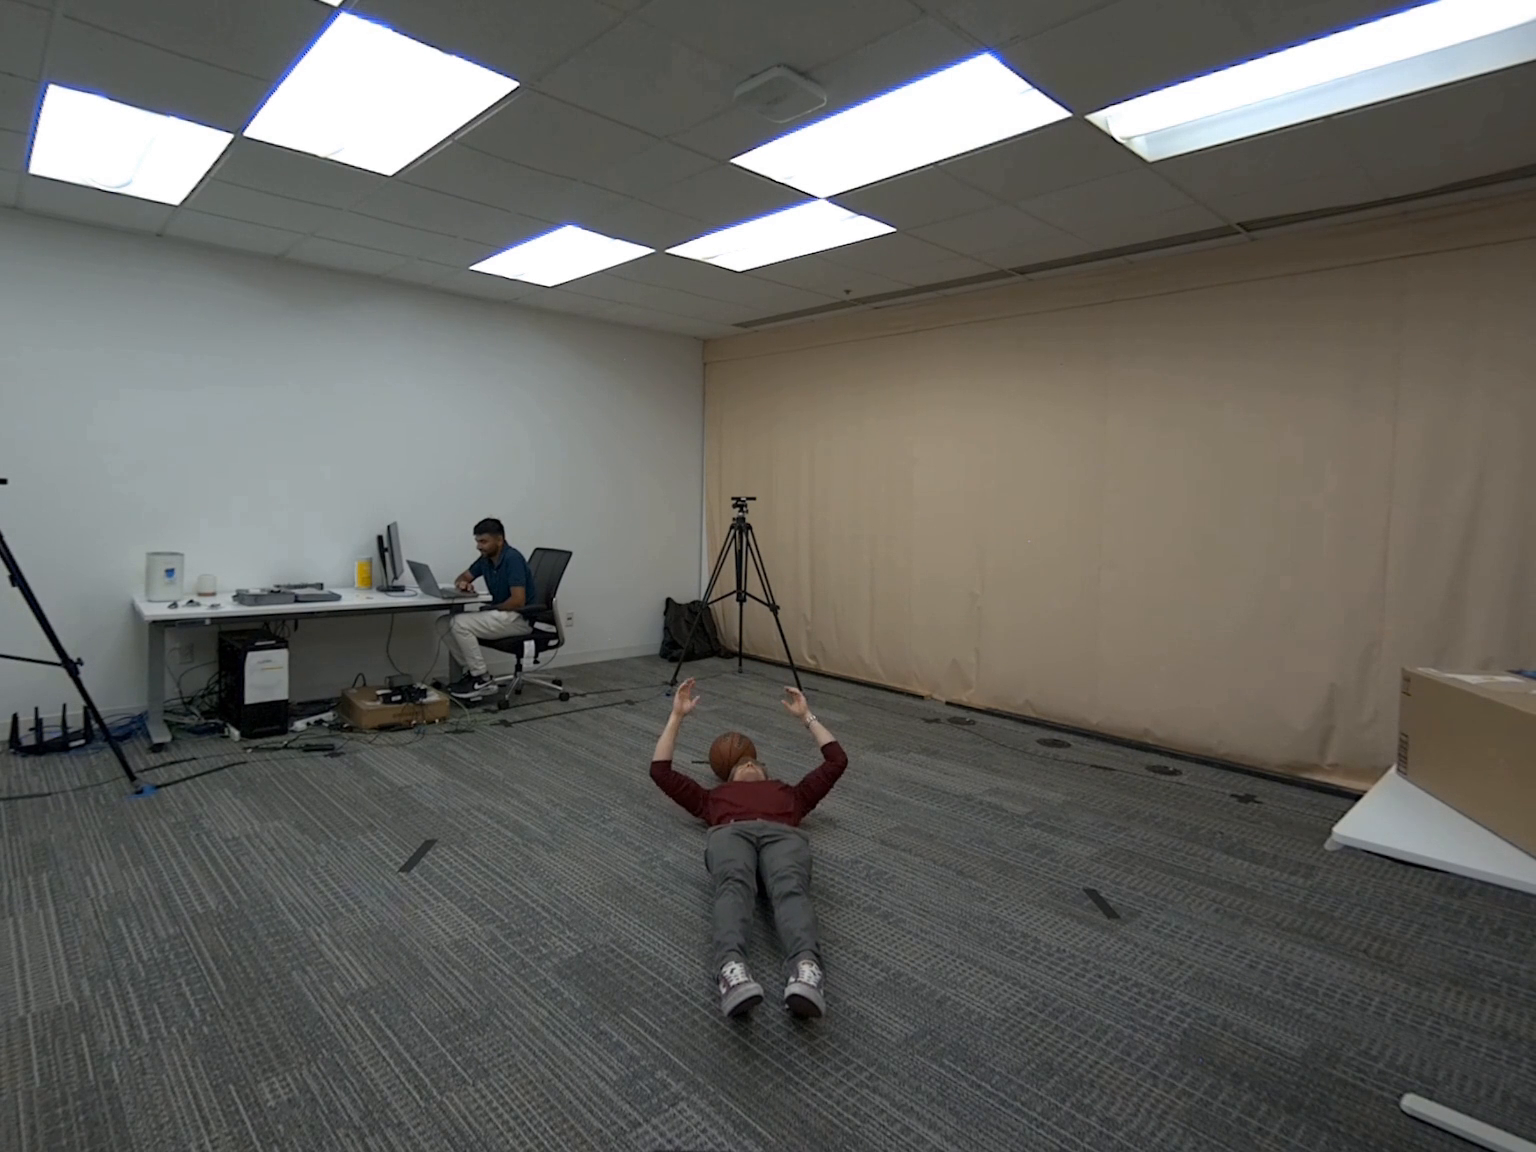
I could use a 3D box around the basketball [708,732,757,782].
[{"bbox_3d":[-0.191,0.893,4.169,0.236,0.235,0.237,1,4,-1],"label":"basketball"}]
